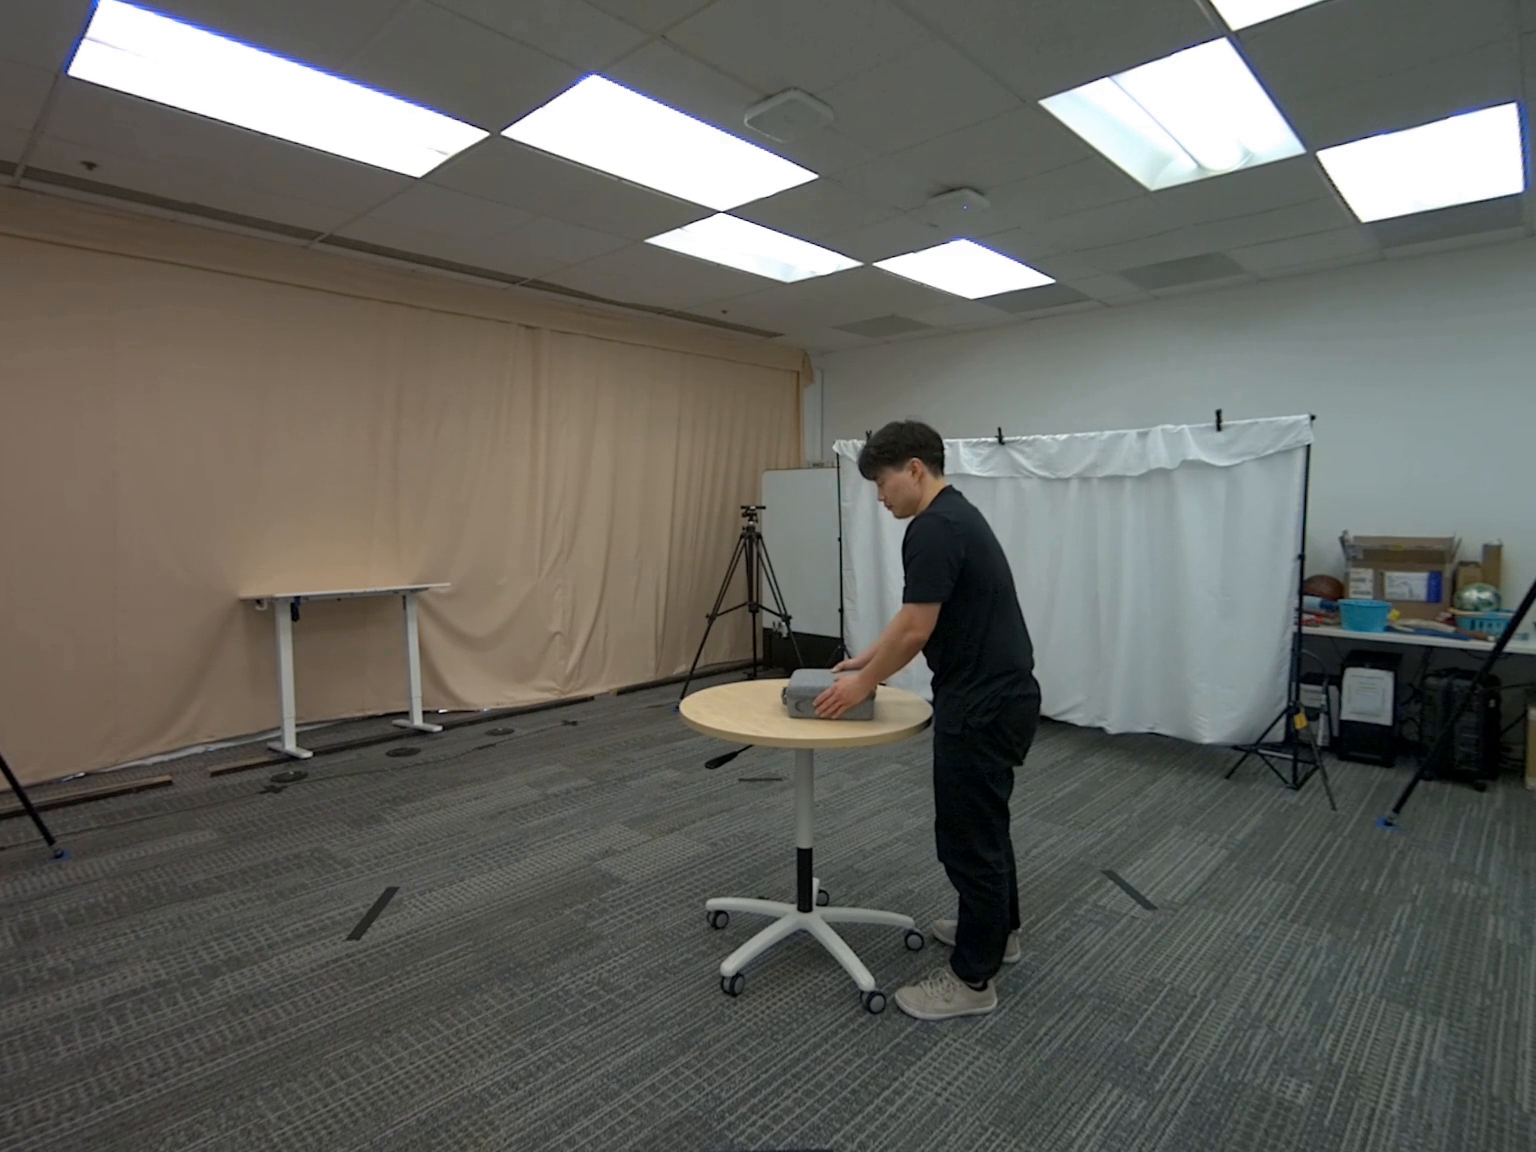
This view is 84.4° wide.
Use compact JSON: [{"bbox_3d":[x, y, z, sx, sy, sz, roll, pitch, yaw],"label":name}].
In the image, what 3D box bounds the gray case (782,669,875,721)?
[{"bbox_3d":[0.188,0.351,2.514,0.263,0.104,0.256,0,7,6],"label":"gray case"}]
